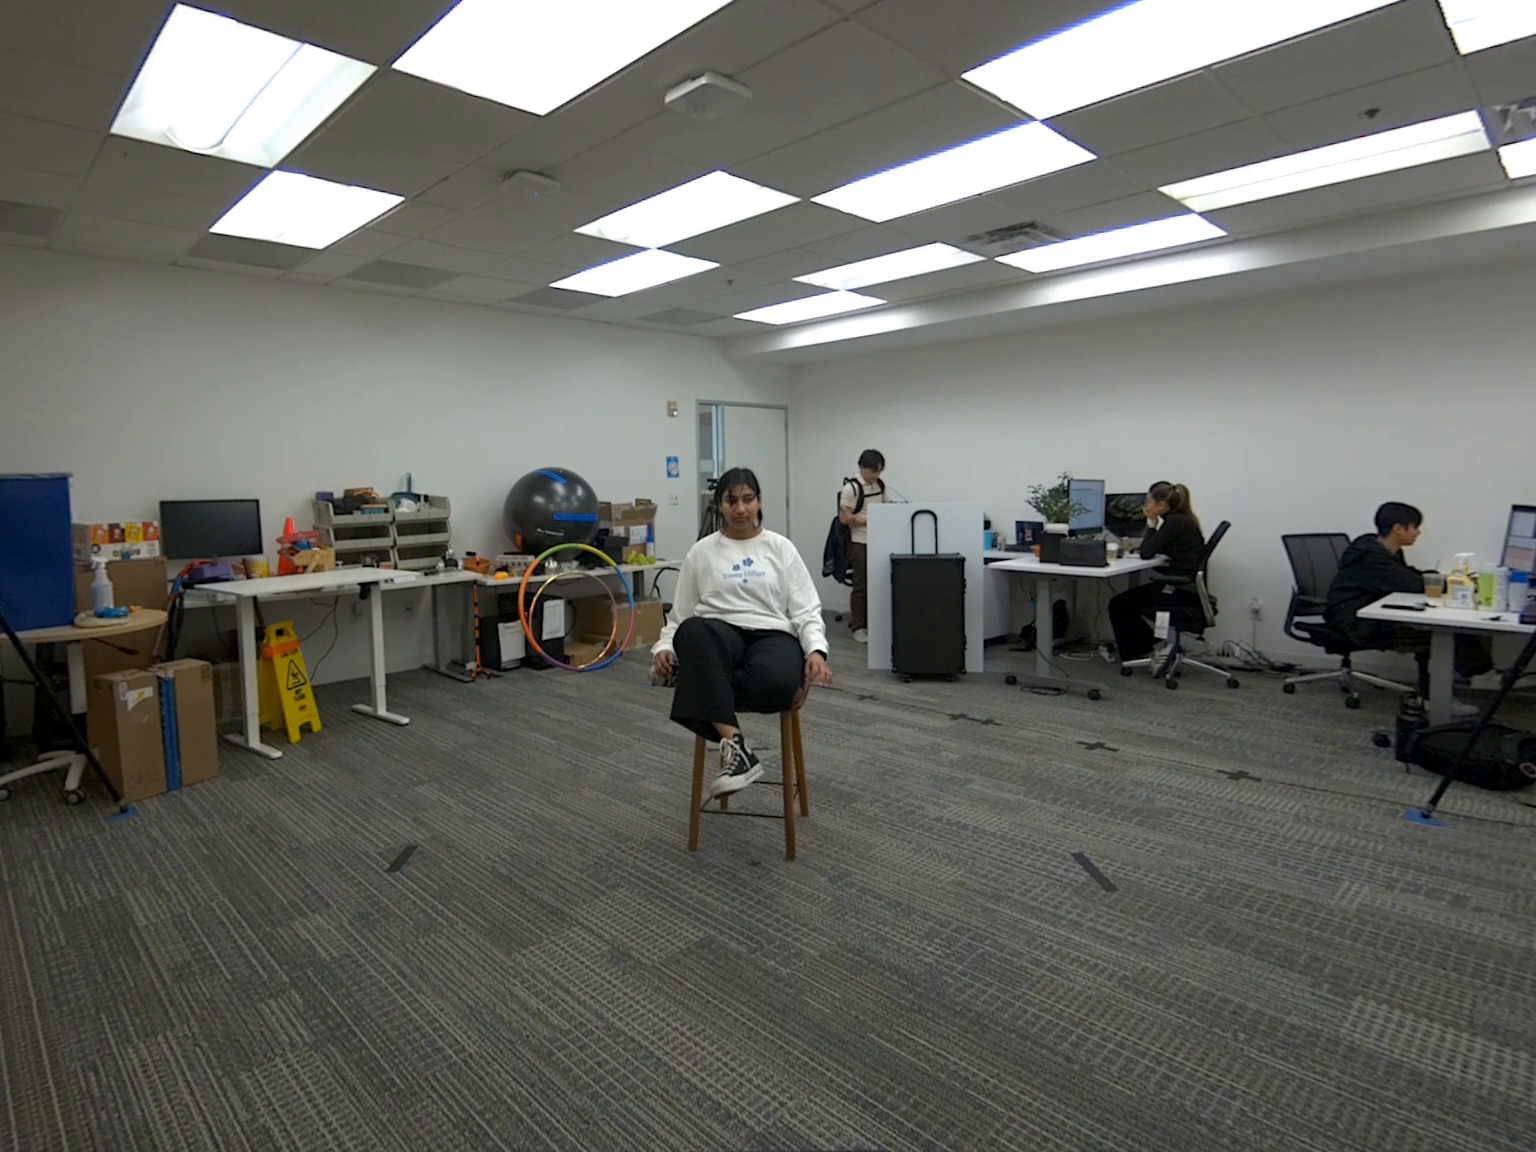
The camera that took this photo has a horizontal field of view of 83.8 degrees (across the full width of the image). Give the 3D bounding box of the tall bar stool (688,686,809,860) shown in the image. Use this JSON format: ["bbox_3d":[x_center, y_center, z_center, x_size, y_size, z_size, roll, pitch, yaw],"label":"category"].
[{"bbox_3d":[-0.056,0.584,3.373,0.463,0.889,0.461,0,2,14],"label":"tall bar stool"}]
